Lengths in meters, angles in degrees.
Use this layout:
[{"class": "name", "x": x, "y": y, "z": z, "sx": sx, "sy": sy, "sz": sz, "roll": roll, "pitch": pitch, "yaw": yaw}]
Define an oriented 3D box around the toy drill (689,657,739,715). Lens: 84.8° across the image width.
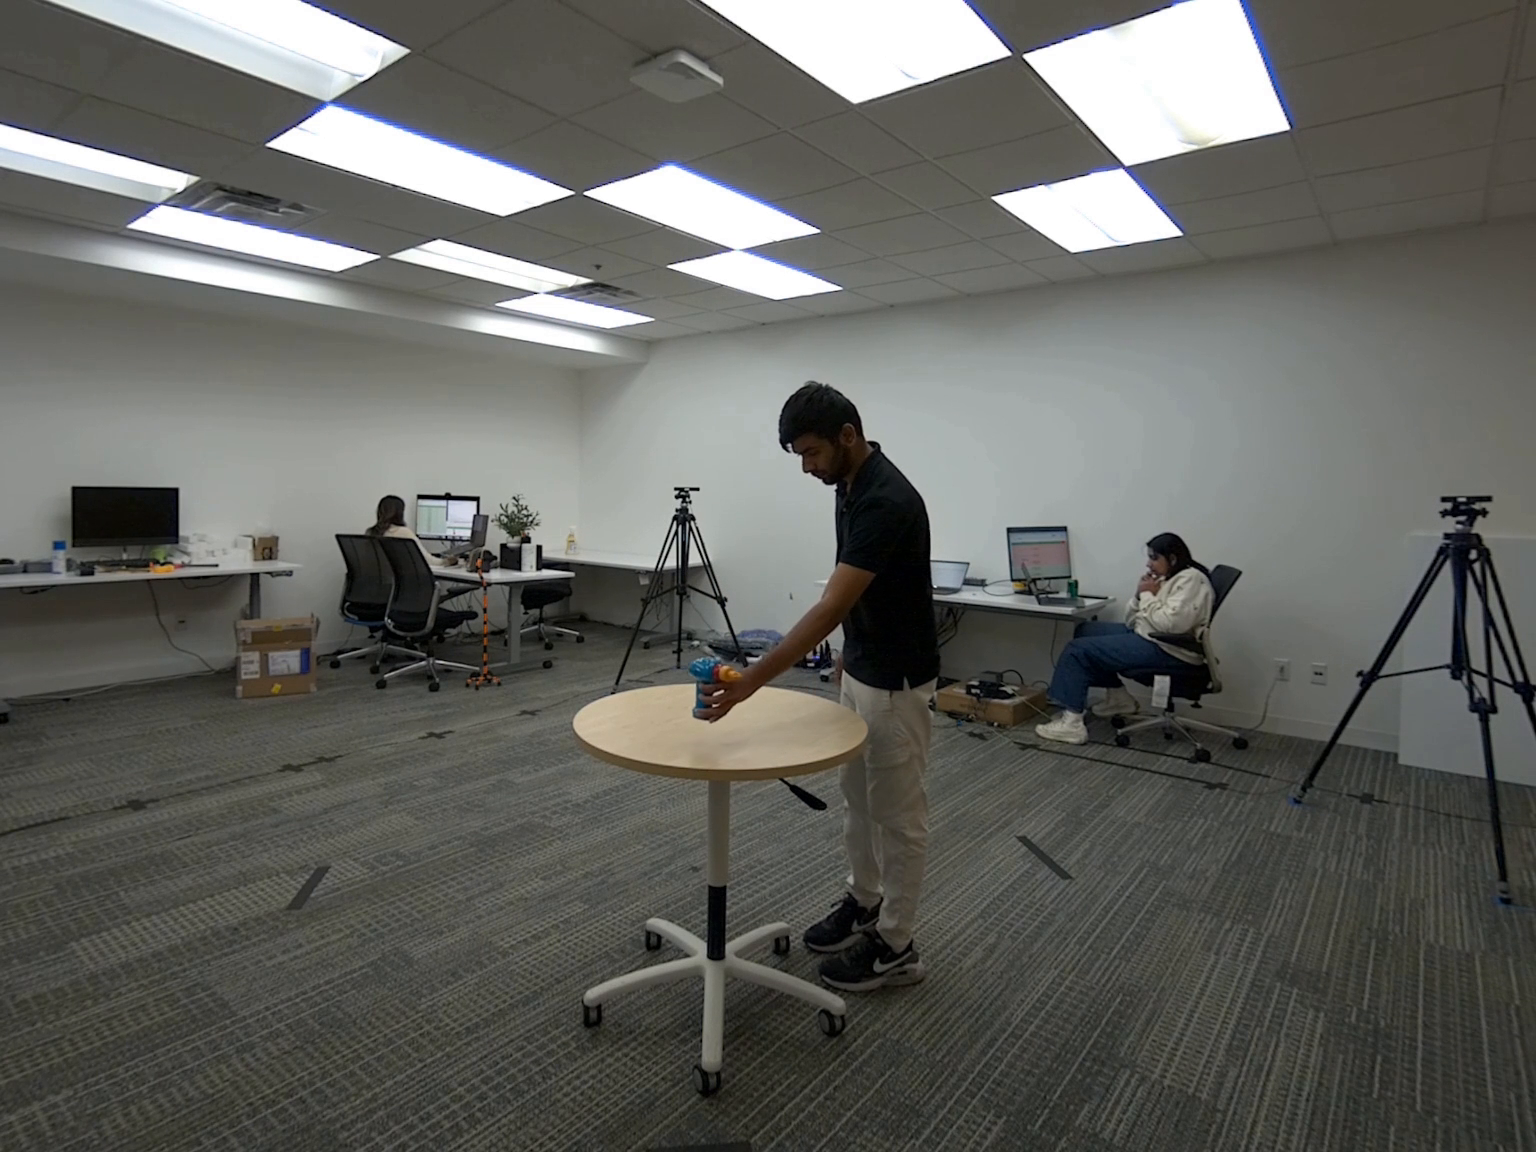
[{"class": "toy drill", "x": -0.122, "y": 0.254, "z": 2.008, "sx": 0.175, "sy": 0.146, "sz": 0.059, "roll": 1, "pitch": 1, "yaw": 41}]
